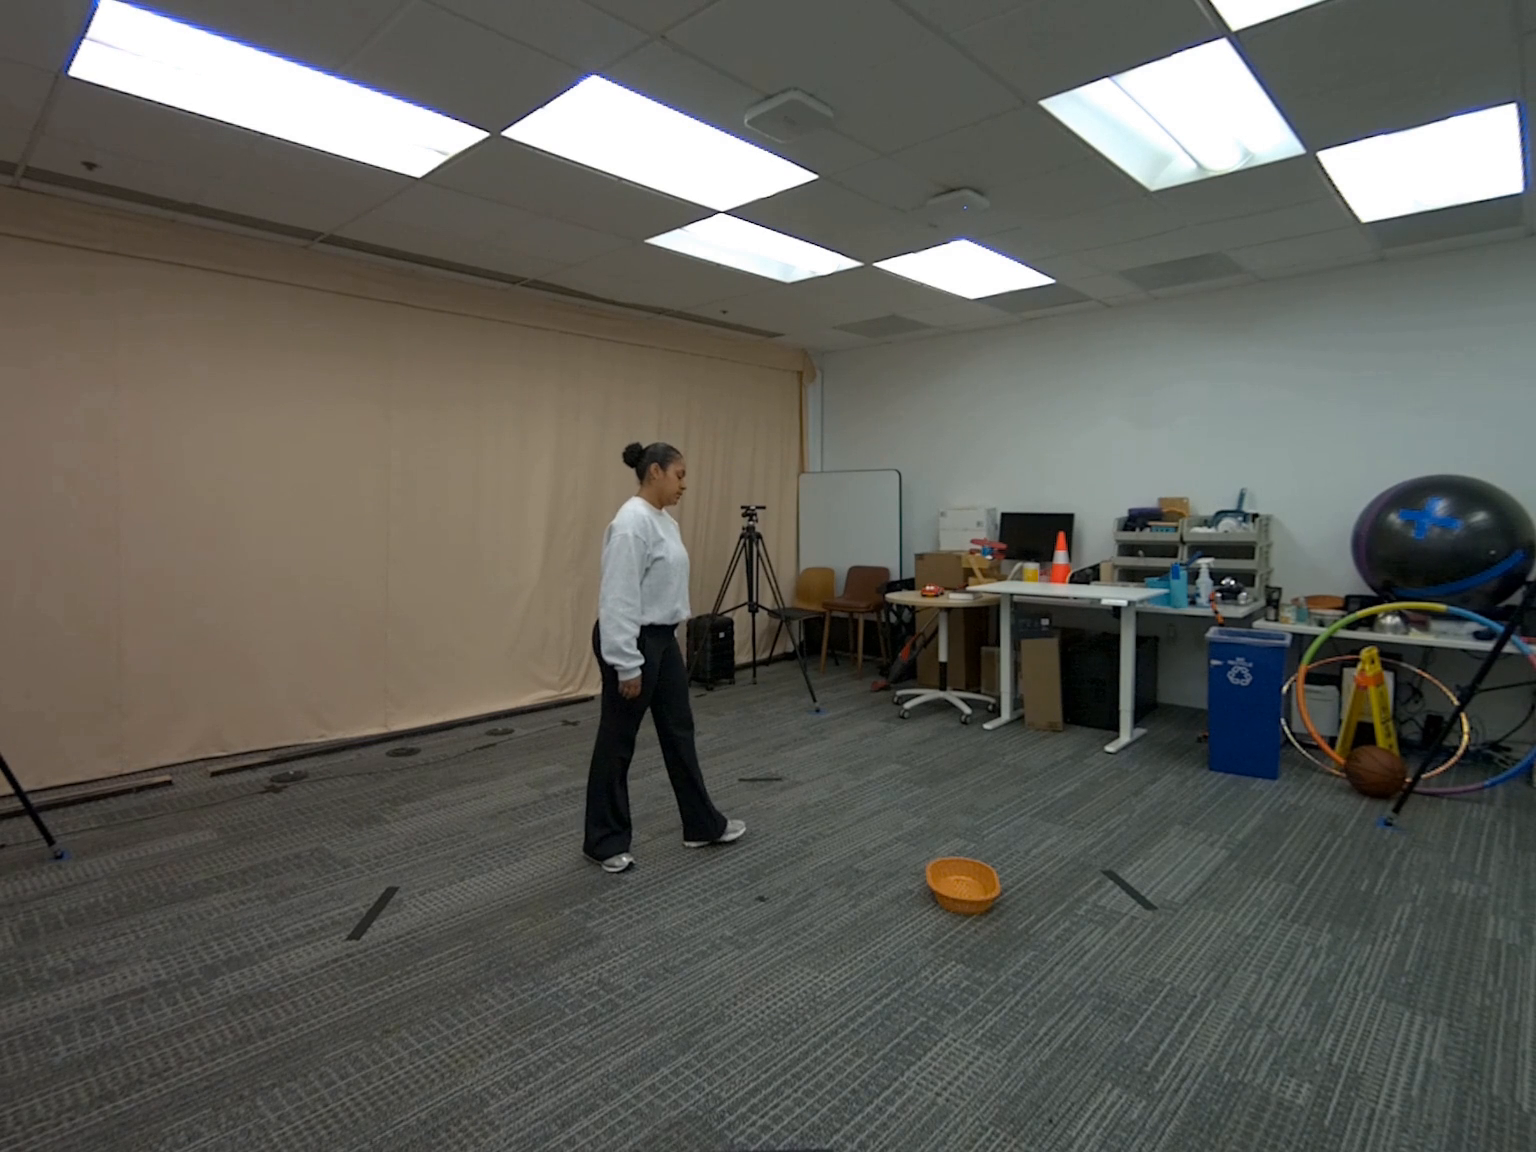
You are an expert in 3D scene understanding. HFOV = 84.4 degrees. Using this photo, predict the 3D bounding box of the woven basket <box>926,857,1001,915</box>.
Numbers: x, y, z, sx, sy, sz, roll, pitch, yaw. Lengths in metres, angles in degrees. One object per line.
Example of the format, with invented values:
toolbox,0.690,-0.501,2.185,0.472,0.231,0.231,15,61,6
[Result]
woven basket,0.697,1.104,2.995,0.256,0.073,0.346,1,5,12
